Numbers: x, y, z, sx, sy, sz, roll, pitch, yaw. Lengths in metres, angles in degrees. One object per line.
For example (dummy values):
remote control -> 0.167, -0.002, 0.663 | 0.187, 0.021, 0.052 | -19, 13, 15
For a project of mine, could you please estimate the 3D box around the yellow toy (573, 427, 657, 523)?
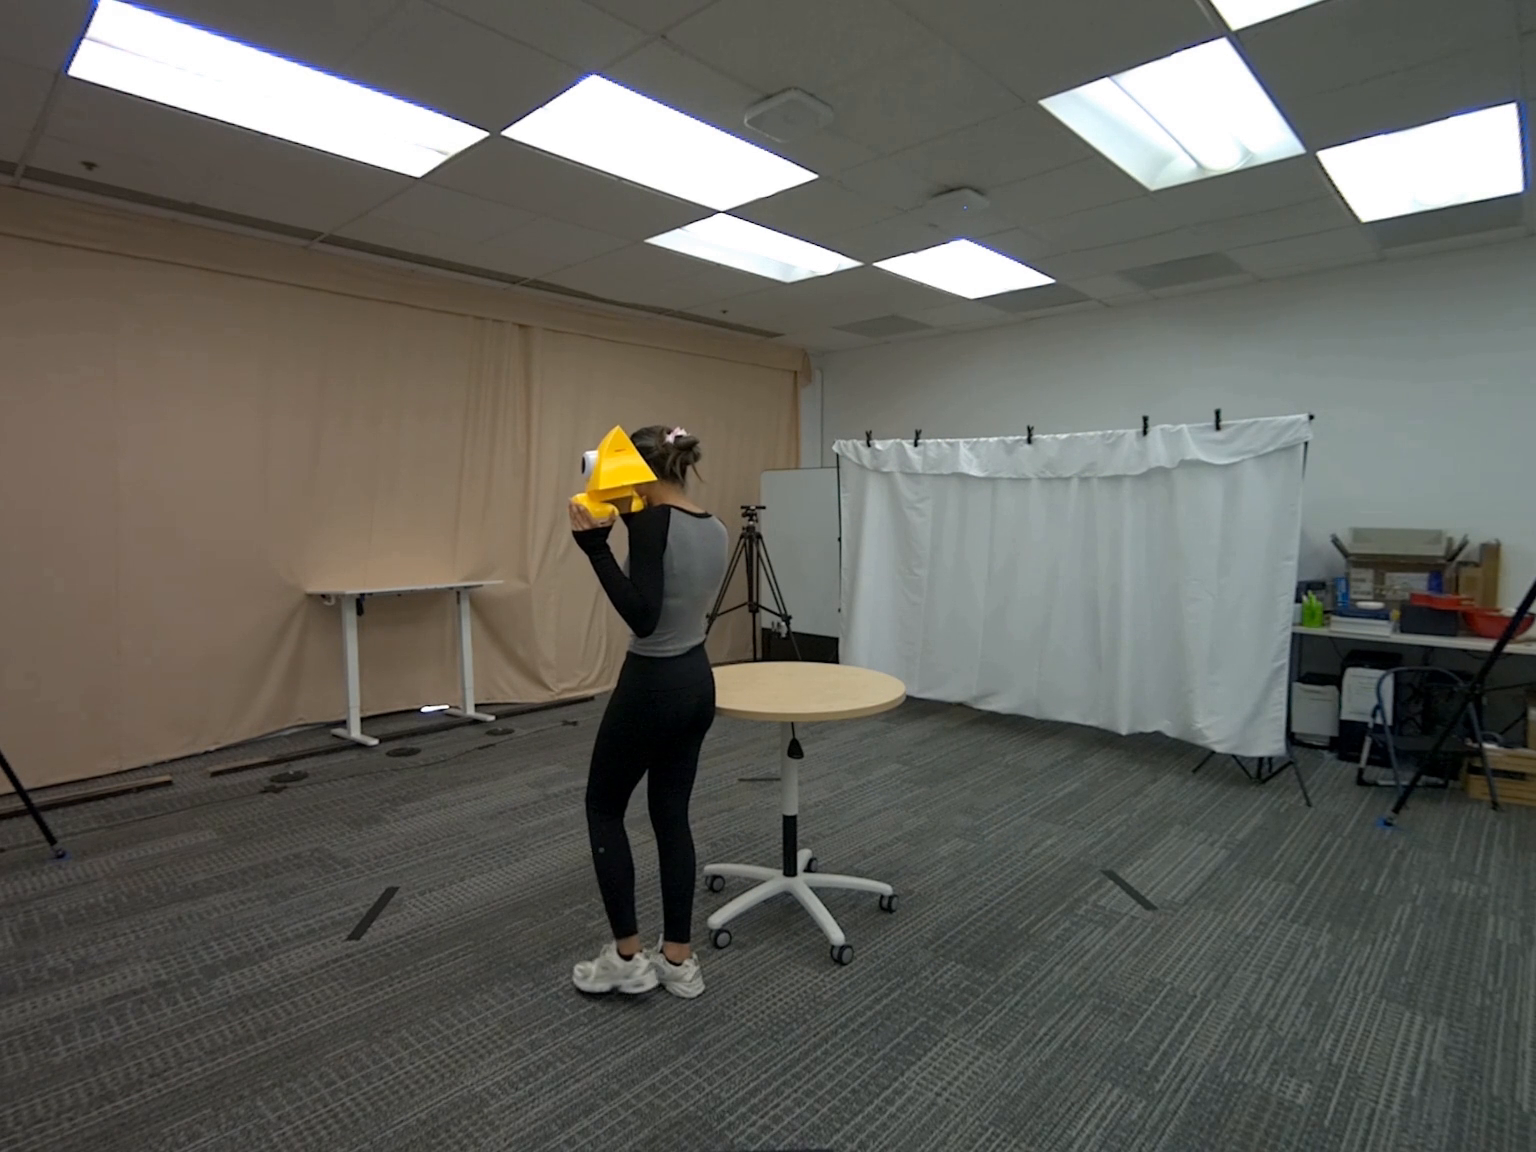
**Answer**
yellow toy -> -0.434, -0.285, 2.245 | 0.200, 0.228, 0.199 | 10, 18, 40
